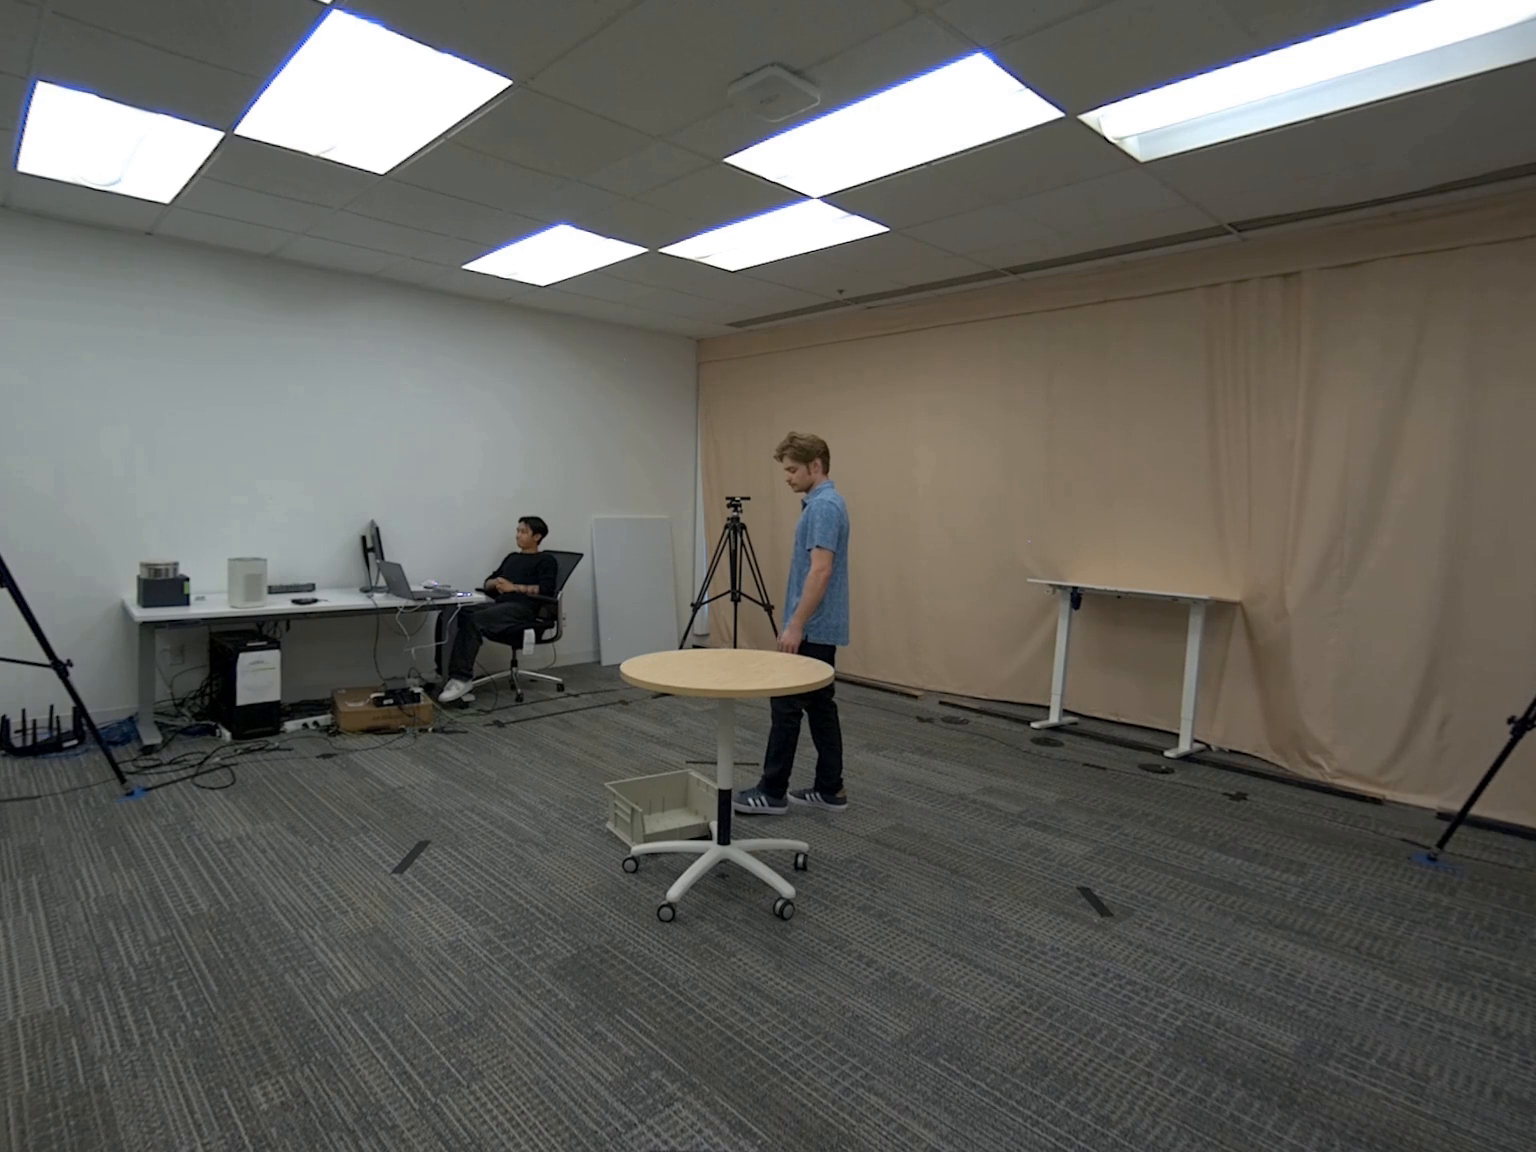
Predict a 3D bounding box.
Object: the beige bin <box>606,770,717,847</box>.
[{"bbox_3d":[-0.424,0.978,3.506,0.413,0.188,0.386,-2,5,-33],"label":"beige bin"}]
